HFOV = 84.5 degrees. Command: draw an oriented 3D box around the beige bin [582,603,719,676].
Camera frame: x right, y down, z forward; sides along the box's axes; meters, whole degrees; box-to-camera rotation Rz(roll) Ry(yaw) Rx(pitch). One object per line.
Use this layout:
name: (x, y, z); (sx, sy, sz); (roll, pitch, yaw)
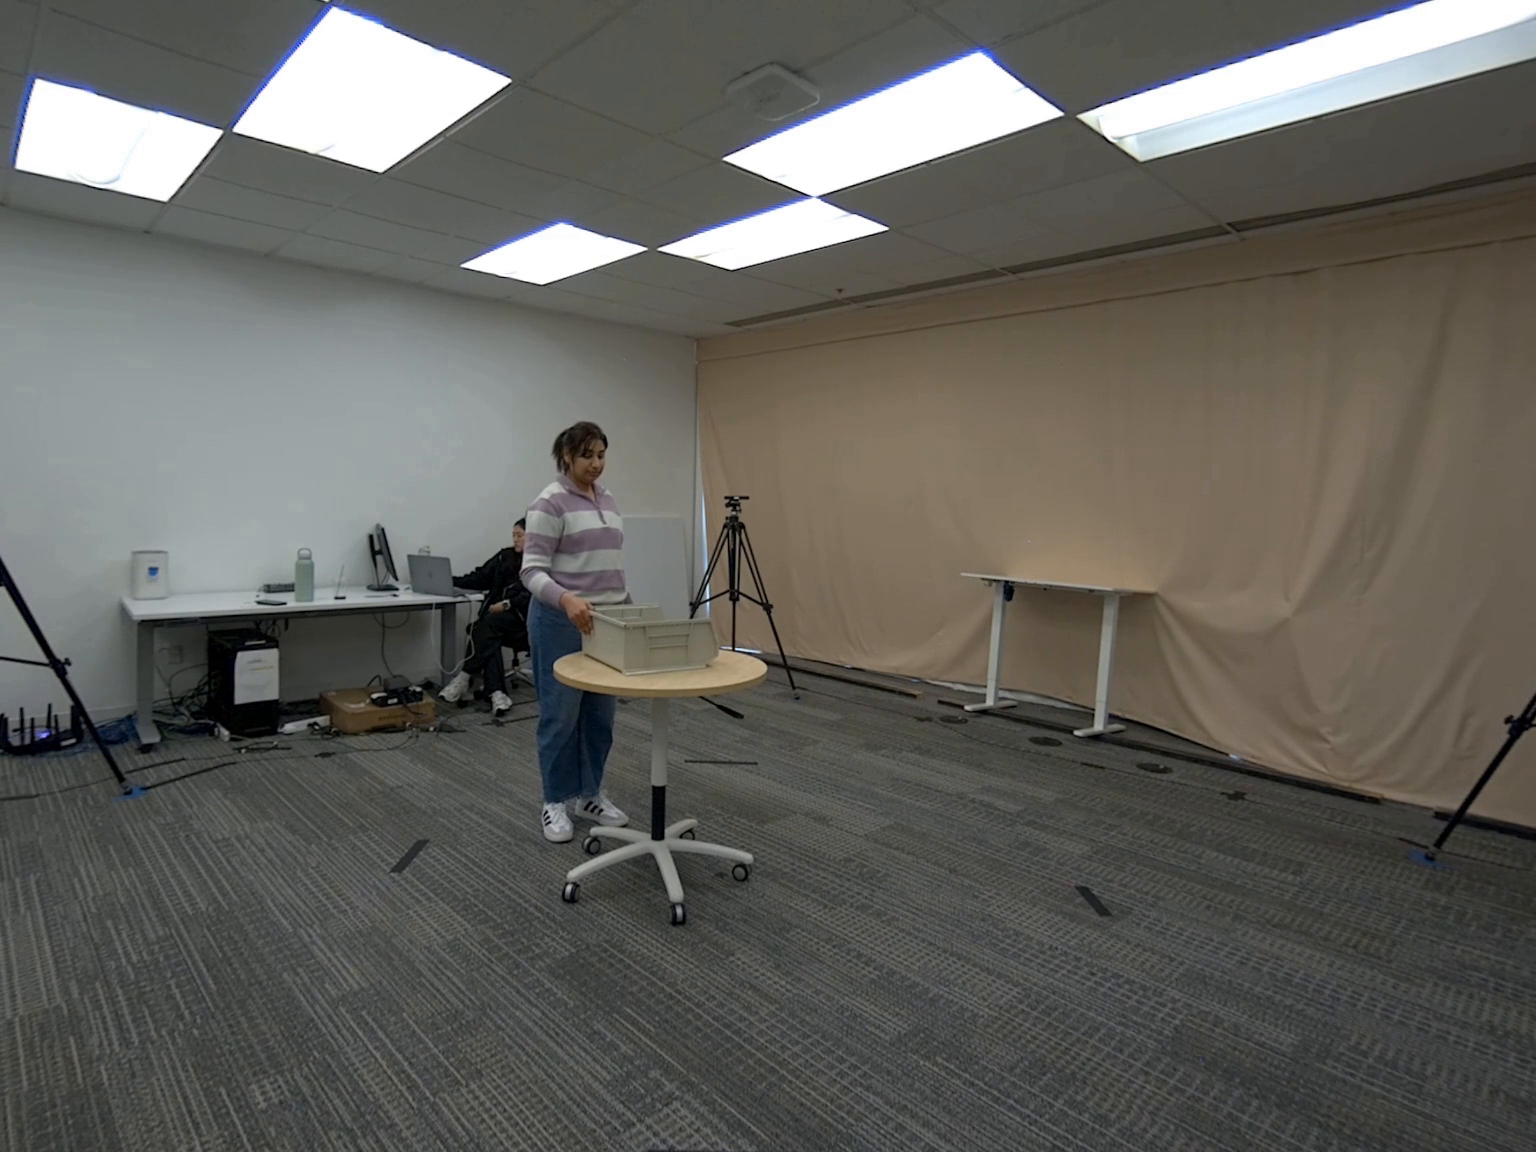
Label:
beige bin: (-0.446, 0.225, 3.088); (0.370, 0.188, 0.432); (-3, 7, -32)
